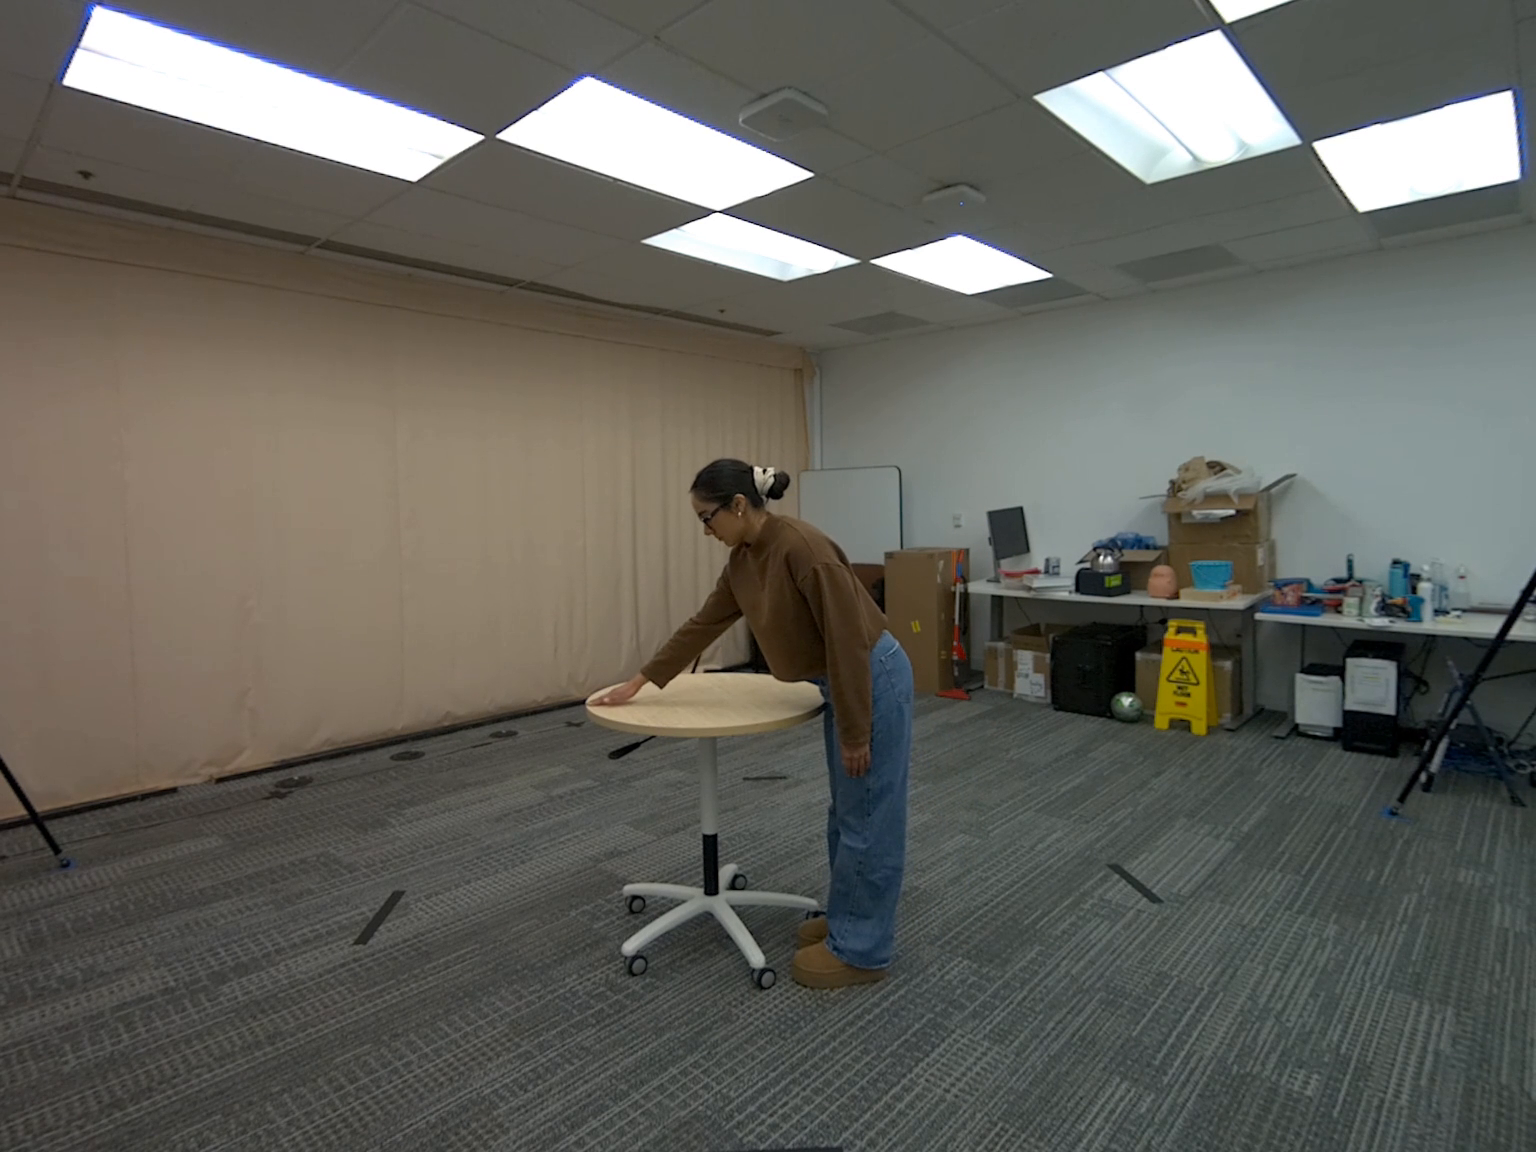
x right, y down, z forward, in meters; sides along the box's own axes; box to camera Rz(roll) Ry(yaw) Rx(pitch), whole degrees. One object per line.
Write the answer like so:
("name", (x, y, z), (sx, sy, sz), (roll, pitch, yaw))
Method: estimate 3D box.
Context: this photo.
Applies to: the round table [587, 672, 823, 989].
("round table", (-0.188, 0.781, 2.709), (0.763, 0.792, 0.767), (-2, 4, -2))
